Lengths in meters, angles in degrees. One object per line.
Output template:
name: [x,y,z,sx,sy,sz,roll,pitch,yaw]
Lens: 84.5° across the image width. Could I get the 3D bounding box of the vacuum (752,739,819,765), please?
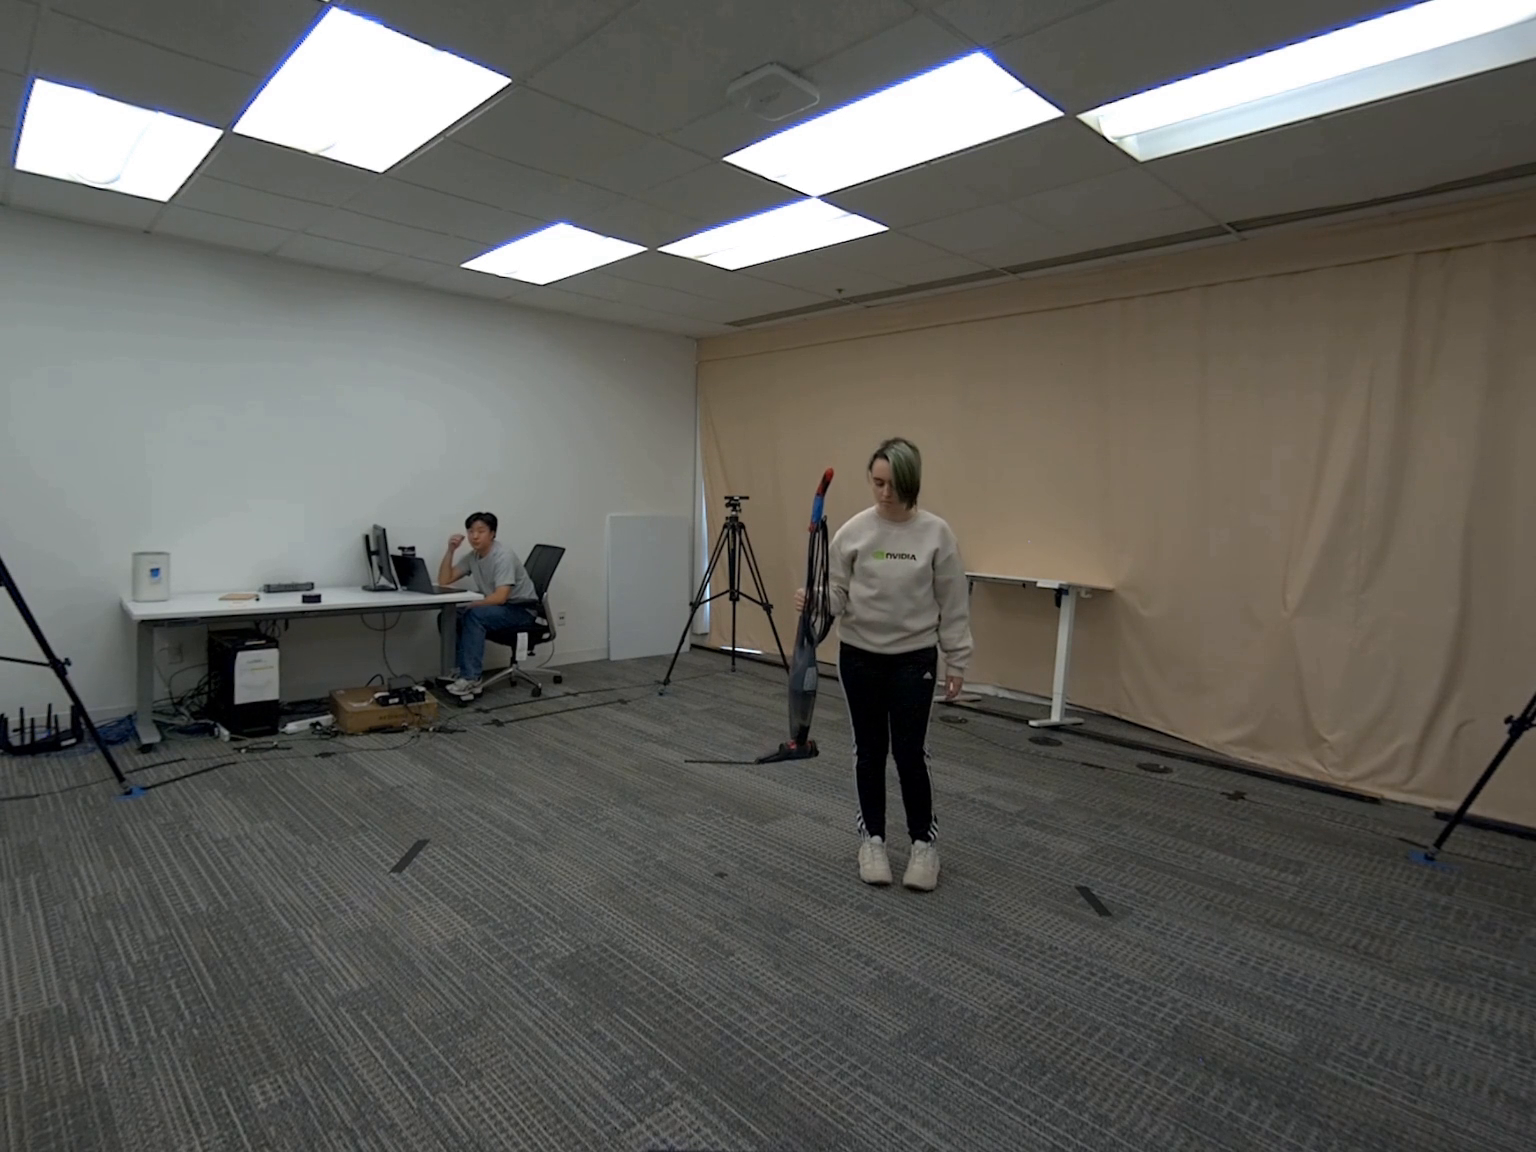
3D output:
vacuum: [0.144,0.155,2.959,0.247,1.040,0.148,0,16,-29]
